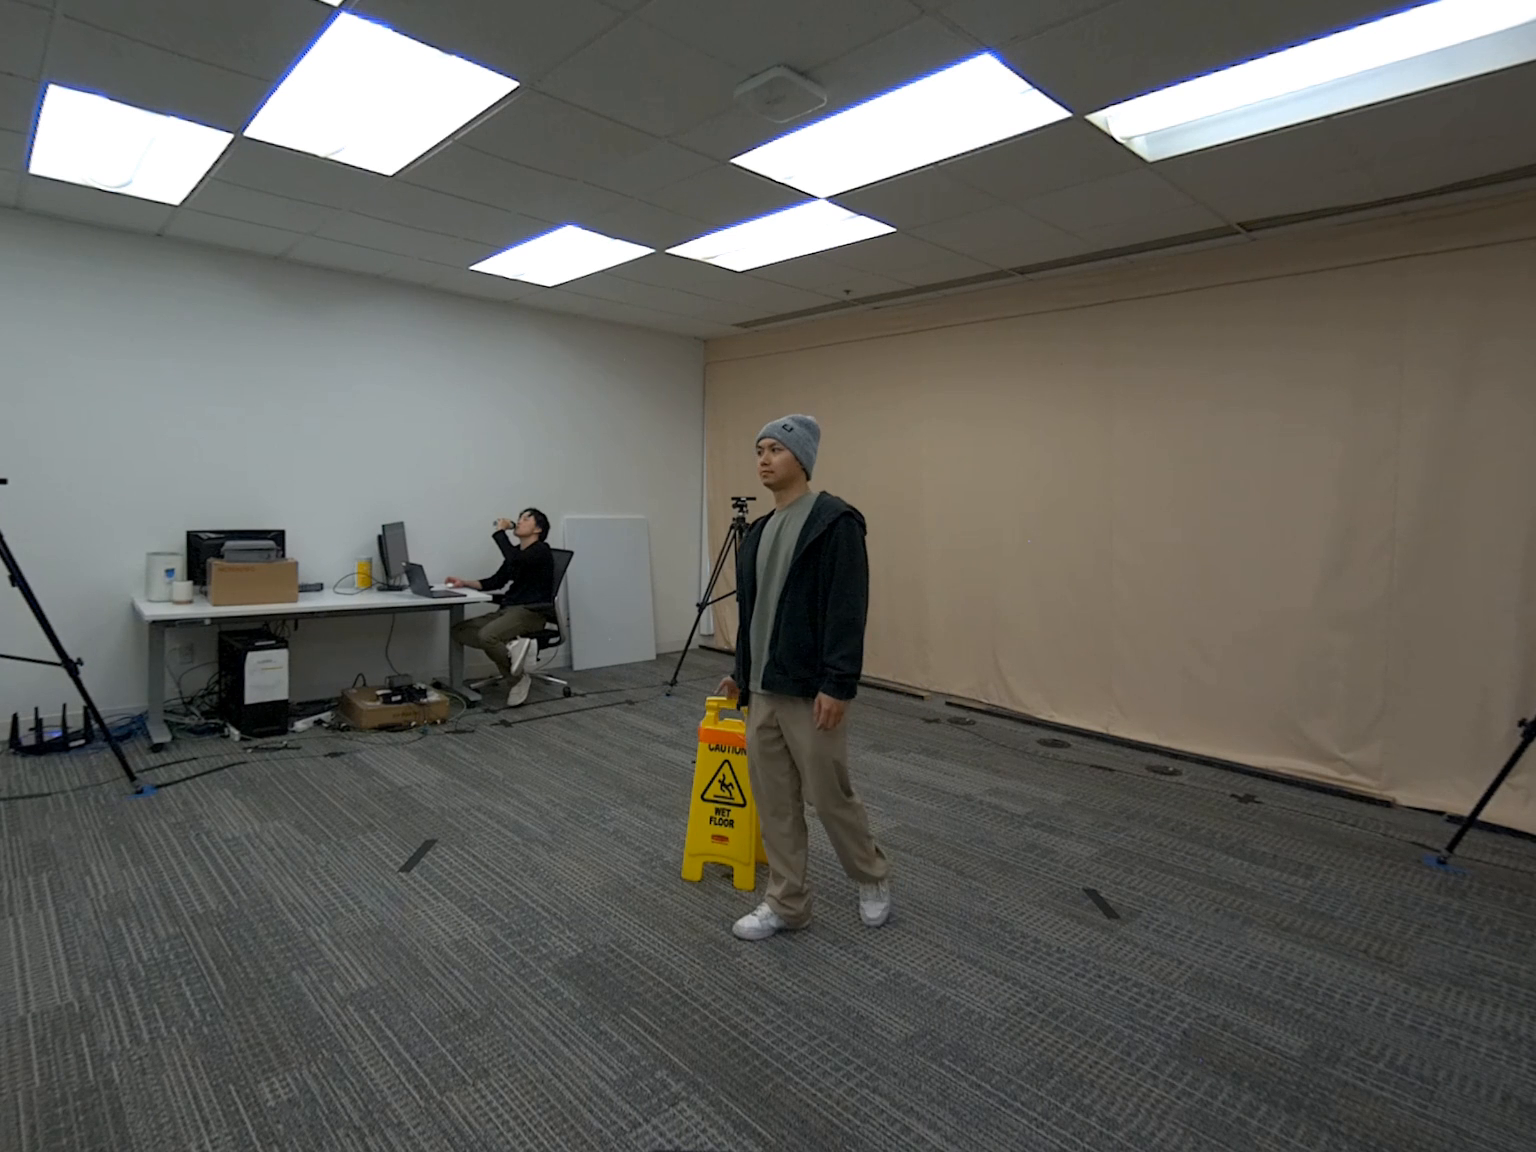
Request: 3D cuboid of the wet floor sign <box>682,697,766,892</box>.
[{"bbox_3d":[-0.147,0.778,3.138,0.286,0.644,0.286,4,4,18],"label":"wet floor sign"}]
